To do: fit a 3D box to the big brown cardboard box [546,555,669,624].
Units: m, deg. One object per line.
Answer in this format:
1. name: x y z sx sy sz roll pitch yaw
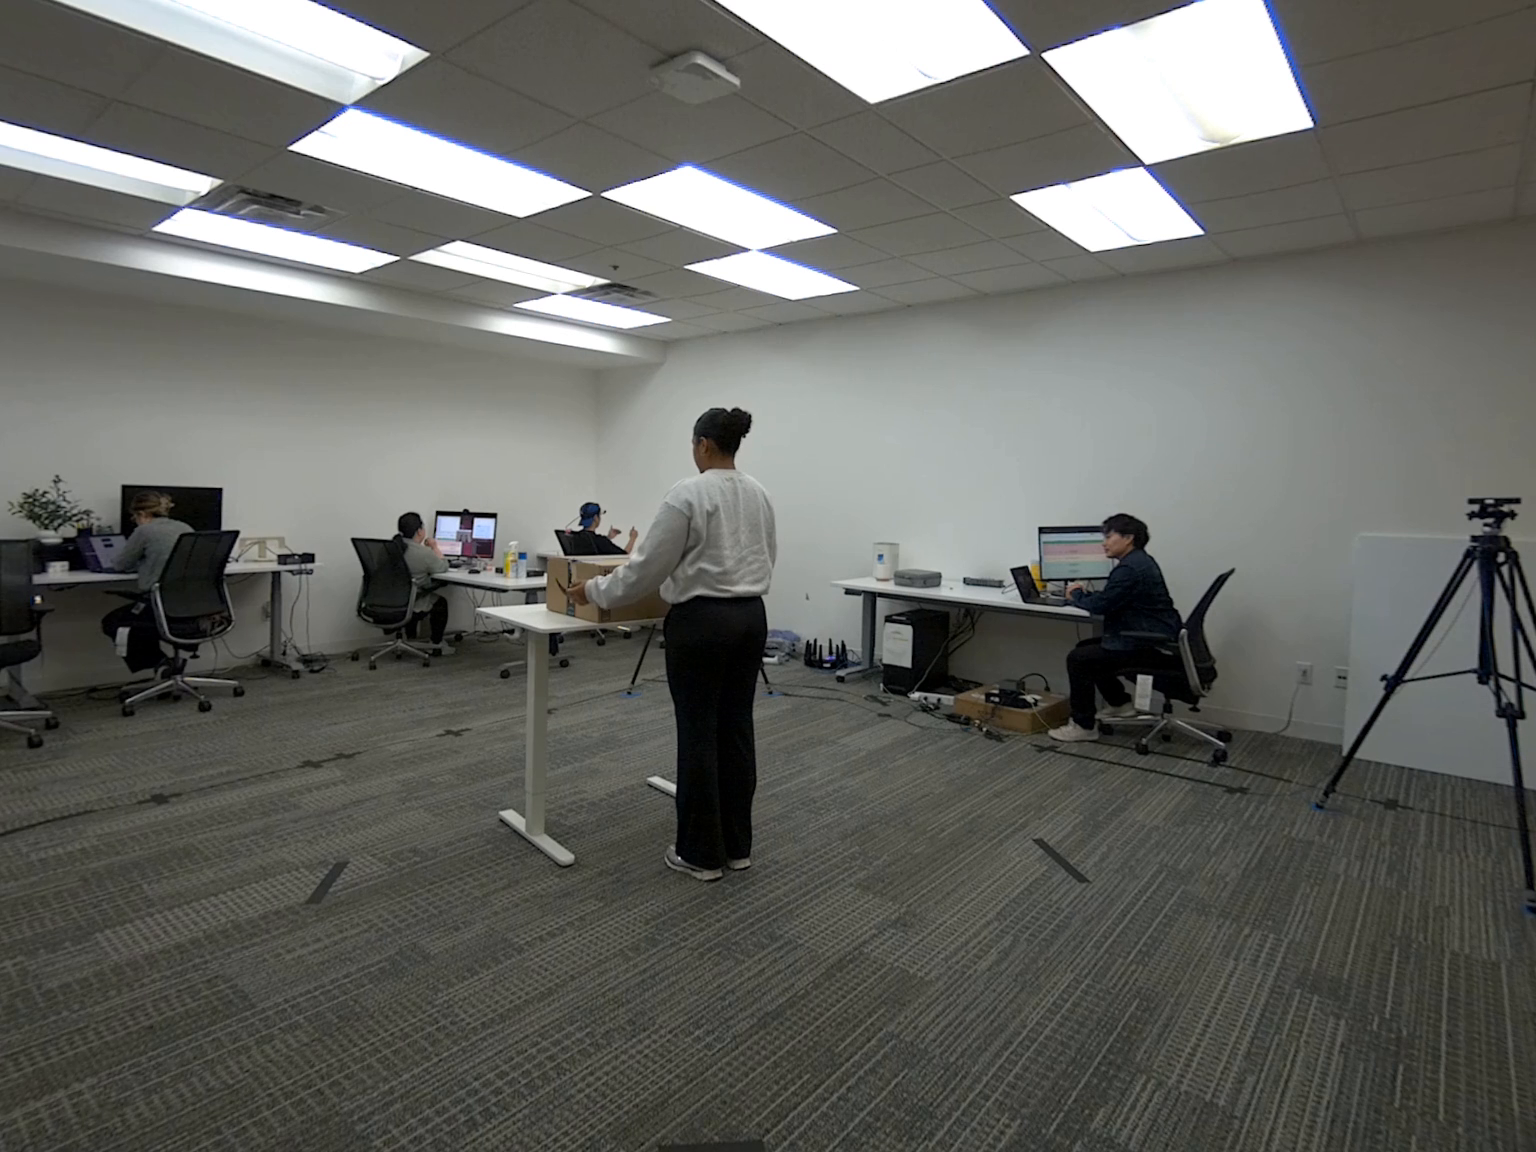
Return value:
1. big brown cardboard box: -0.566 0.034 3.465 0.571 0.232 0.432 -4 8 -41
